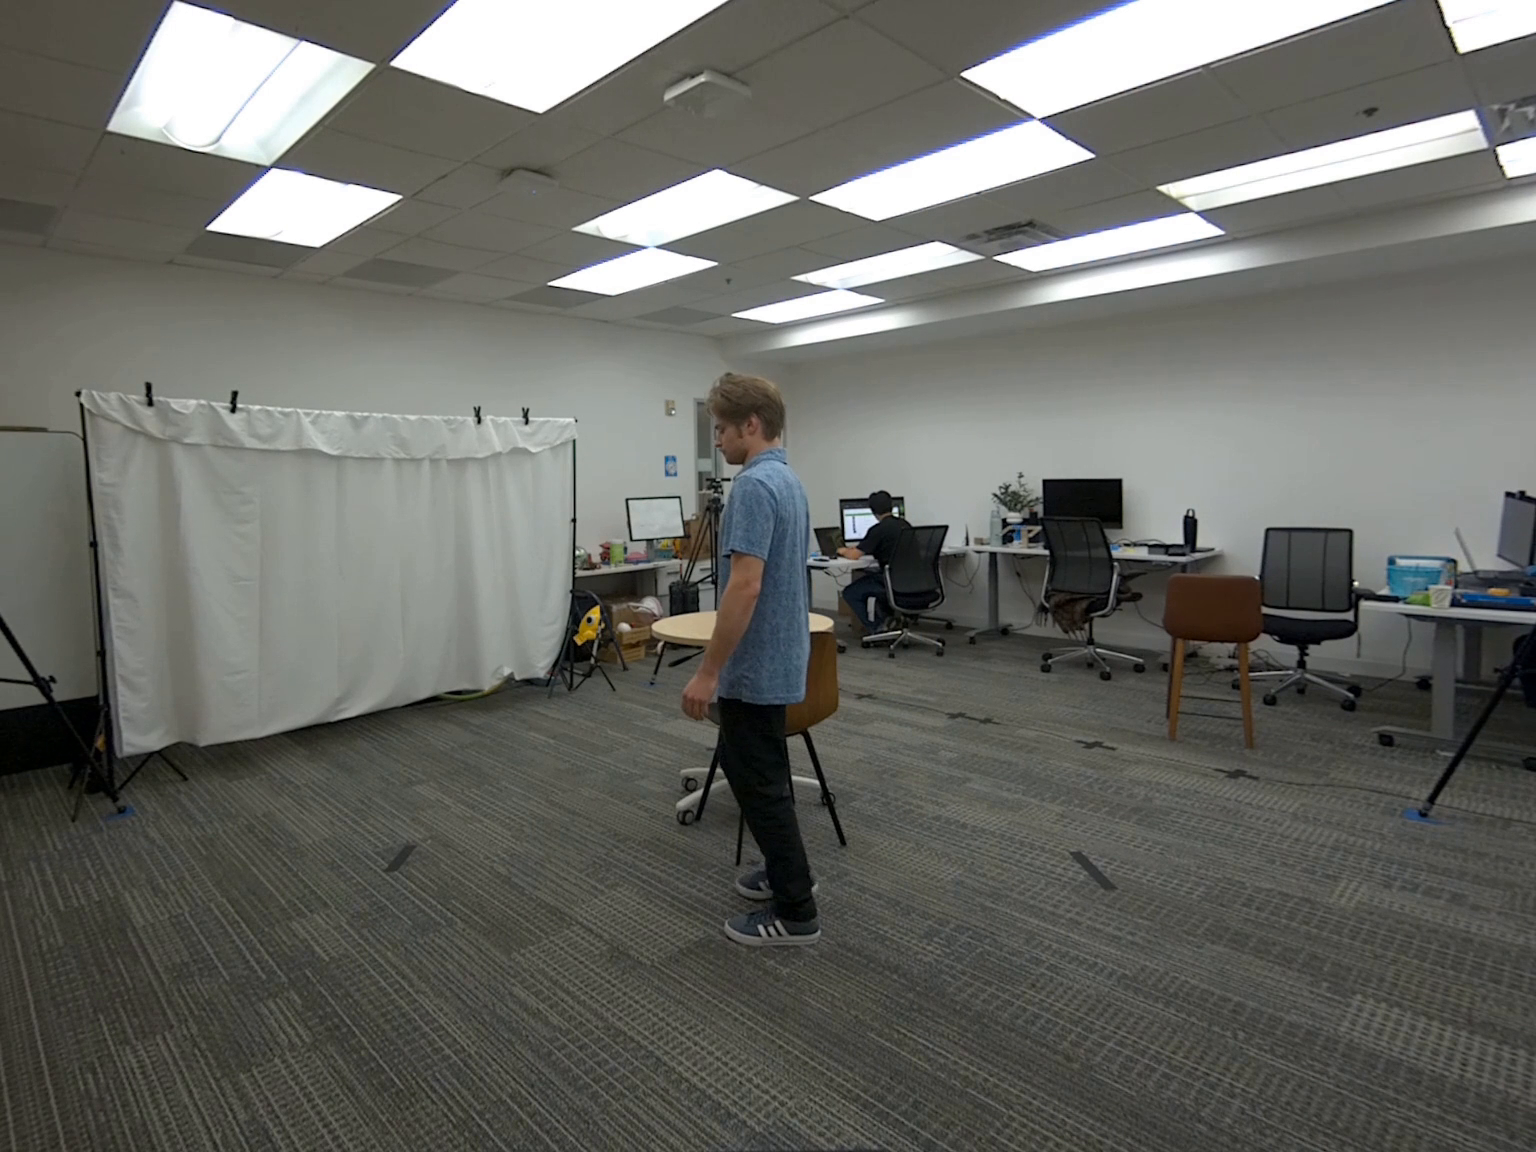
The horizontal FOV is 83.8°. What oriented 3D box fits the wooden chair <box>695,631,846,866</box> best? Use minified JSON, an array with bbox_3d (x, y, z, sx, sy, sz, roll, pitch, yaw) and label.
[{"bbox_3d":[-0.006,0.586,3.341,0.469,0.871,0.537,-3,9,-24],"label":"wooden chair"}]
